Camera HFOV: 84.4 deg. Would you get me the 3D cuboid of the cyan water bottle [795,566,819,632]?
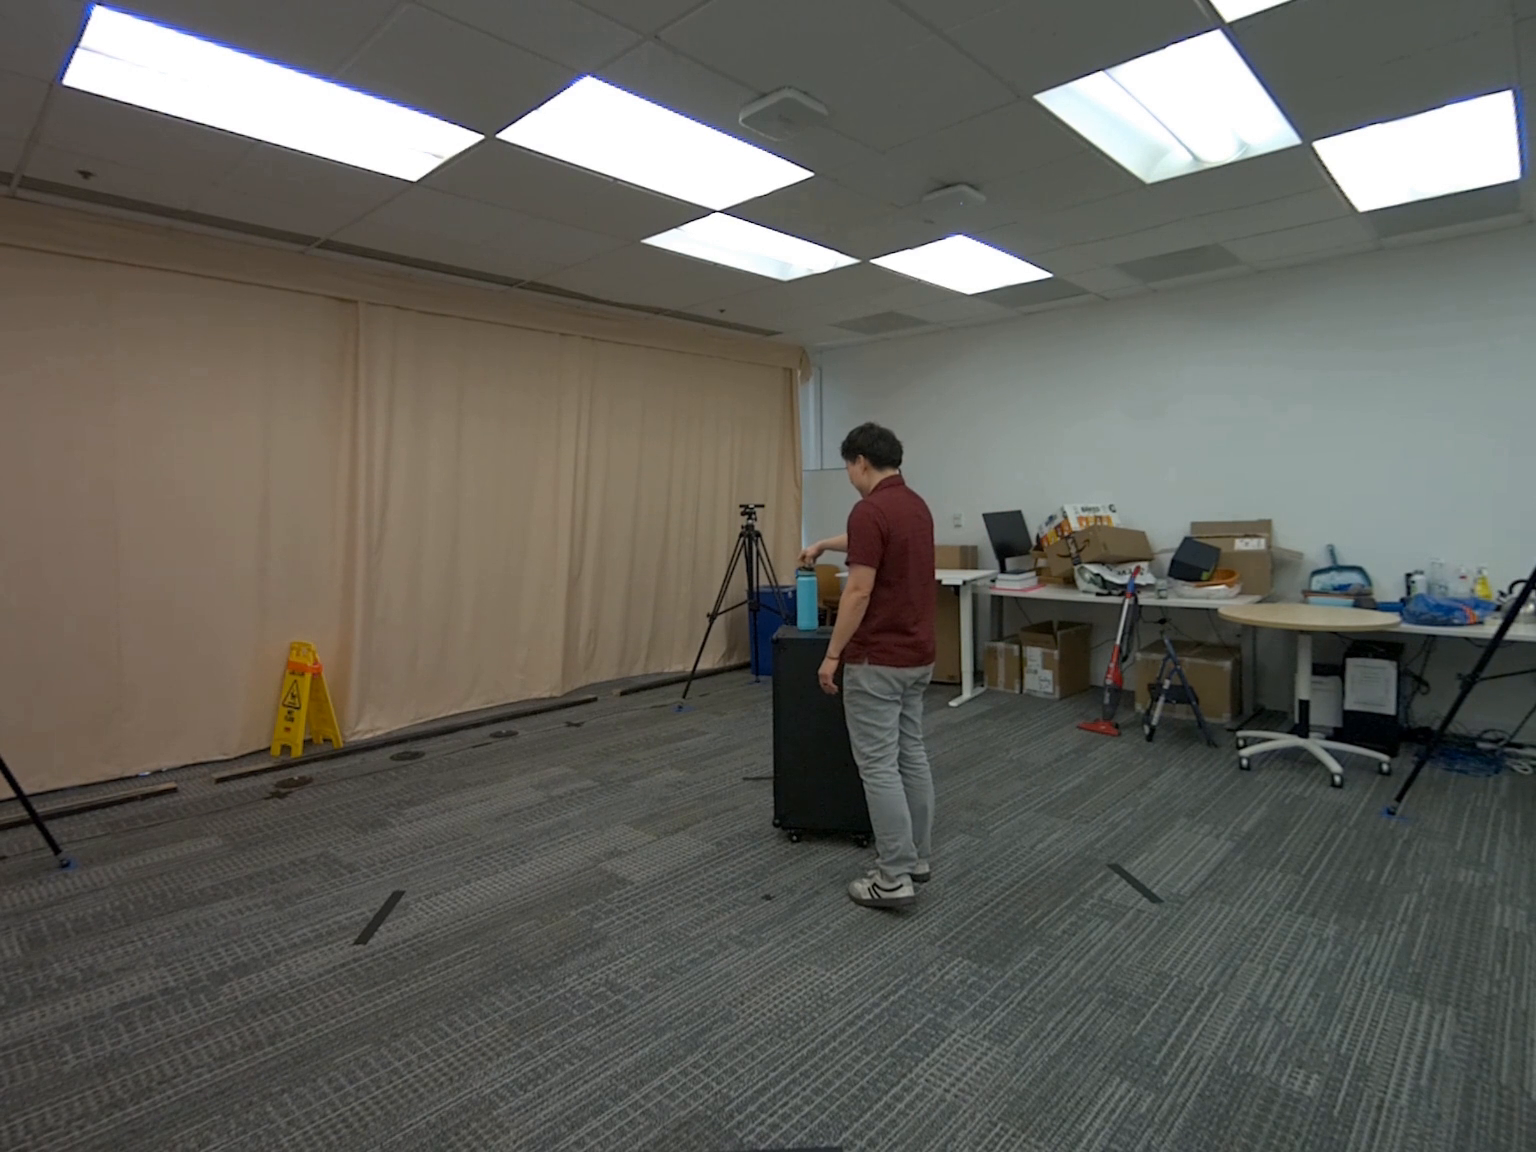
[{"bbox_3d":[0.169,0.090,3.668,0.092,0.283,0.092,-1,2,-2],"label":"cyan water bottle"}]
